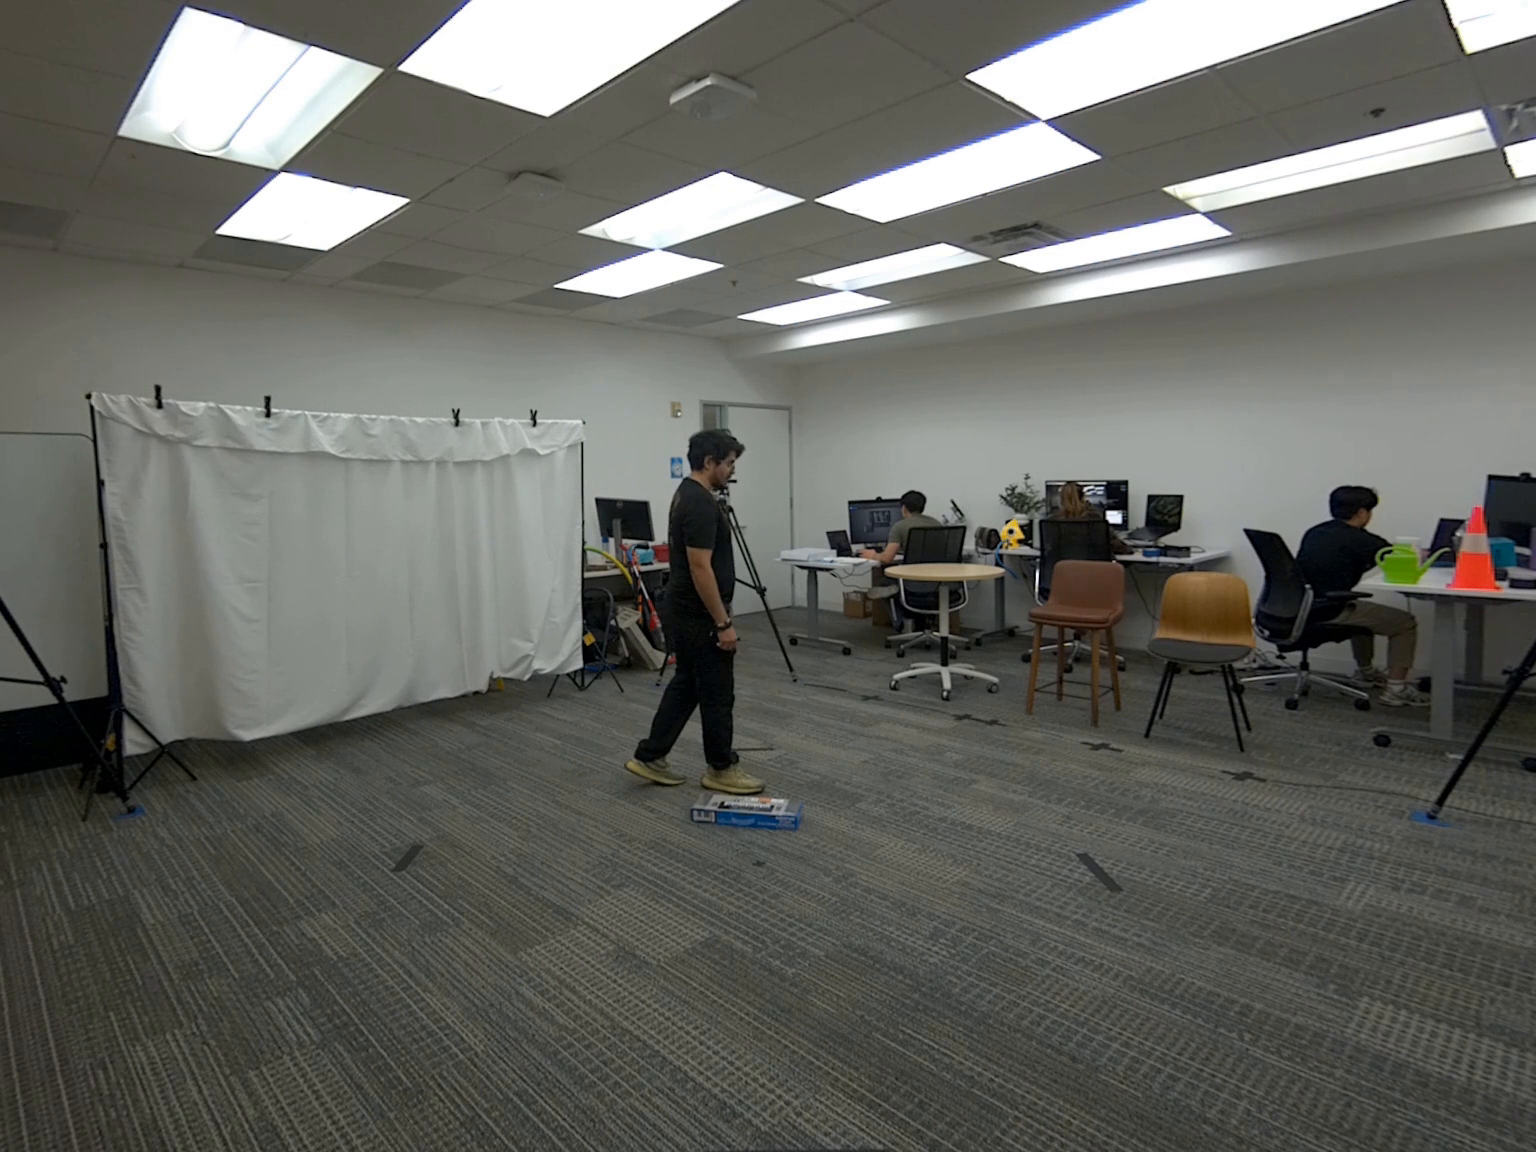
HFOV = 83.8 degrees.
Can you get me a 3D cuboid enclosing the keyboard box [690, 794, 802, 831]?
[{"bbox_3d":[-0.083,0.972,3.529,0.443,0.059,0.174,1,6,13],"label":"keyboard box"}]
